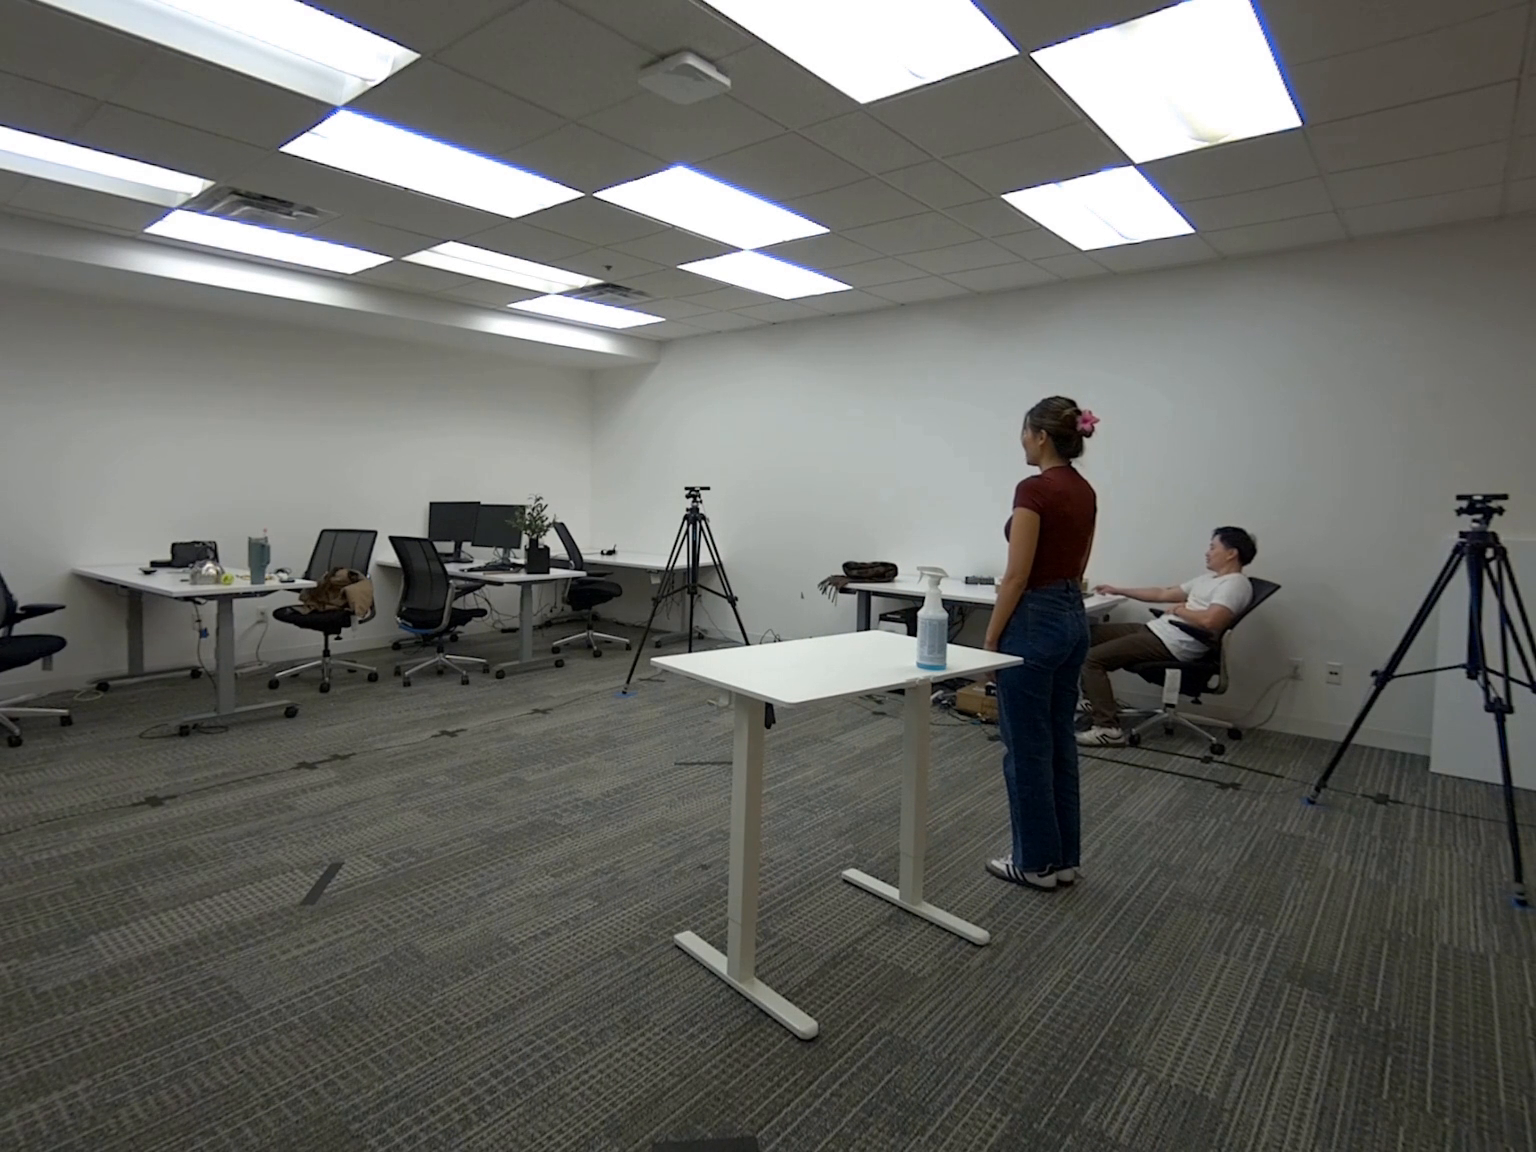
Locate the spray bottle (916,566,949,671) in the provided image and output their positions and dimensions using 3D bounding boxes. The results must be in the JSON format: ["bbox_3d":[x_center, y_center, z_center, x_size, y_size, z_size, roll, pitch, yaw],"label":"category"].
[{"bbox_3d":[0.474,0.120,2.464,0.093,0.297,0.085,2,2,31],"label":"spray bottle"}]
